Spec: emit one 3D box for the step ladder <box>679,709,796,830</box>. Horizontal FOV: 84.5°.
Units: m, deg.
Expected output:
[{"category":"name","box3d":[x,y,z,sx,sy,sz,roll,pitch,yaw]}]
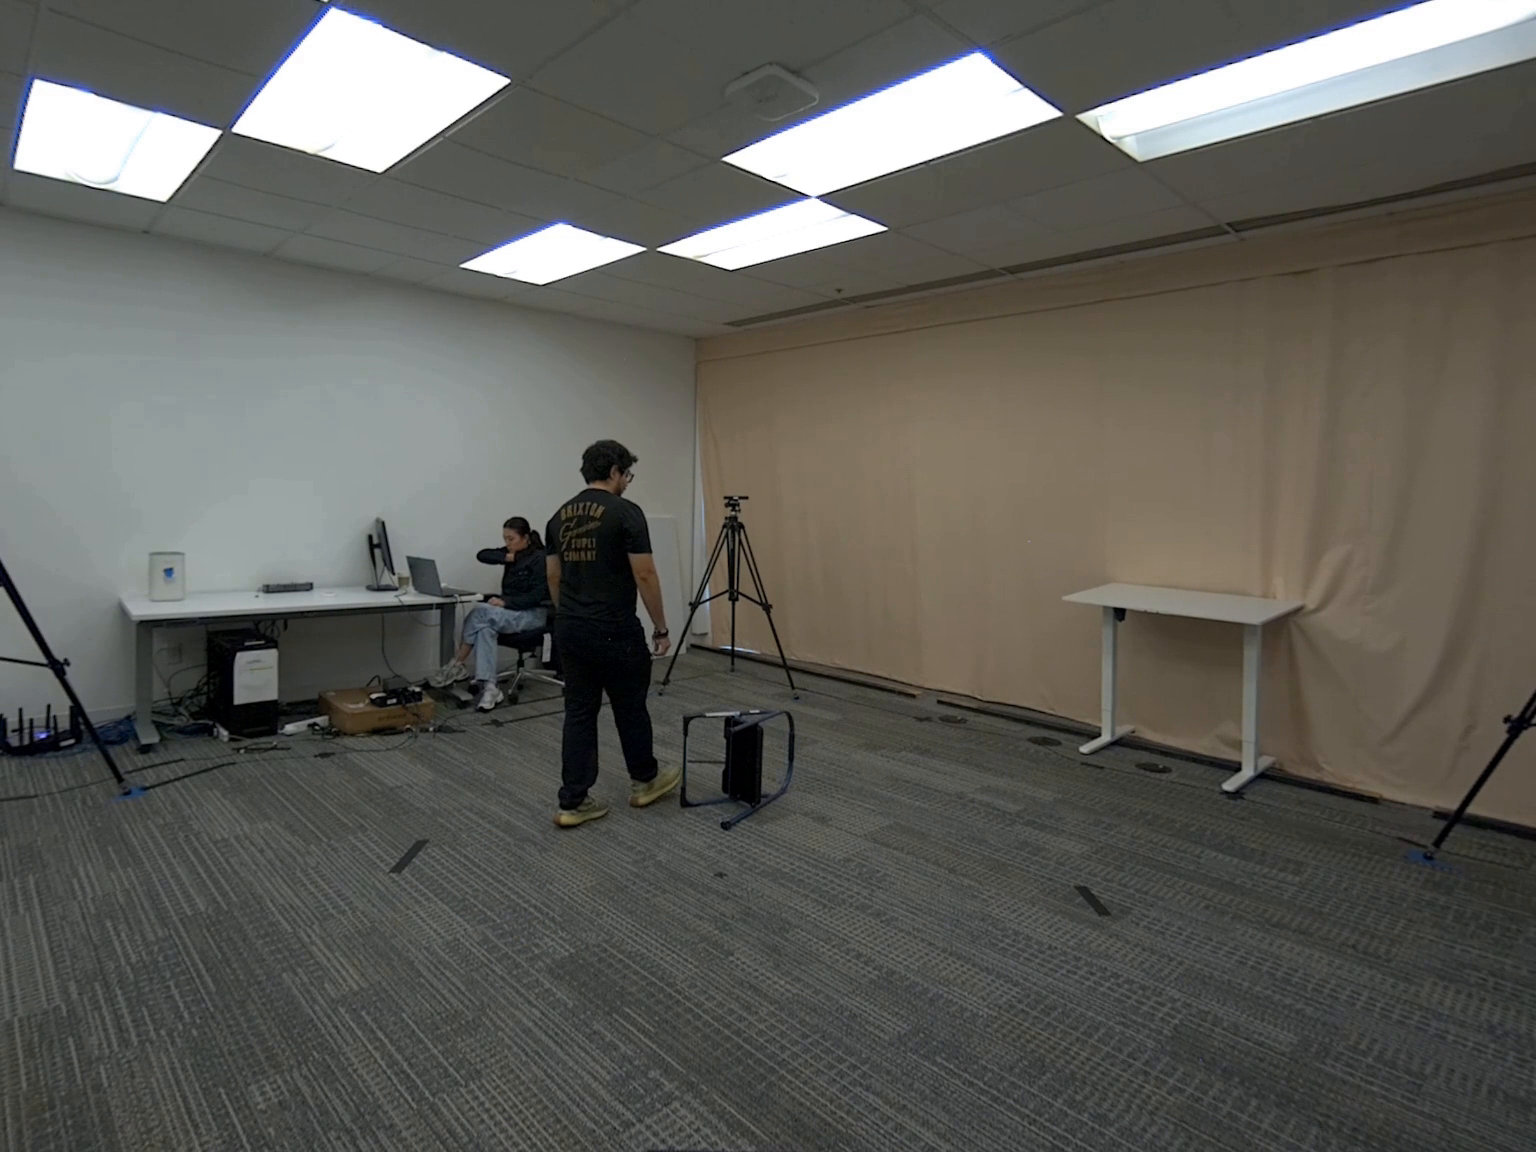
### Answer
[{"category":"step ladder","box3d":[-0.062,0.834,3.833,0.592,0.430,0.358,0,4,-41]}]
